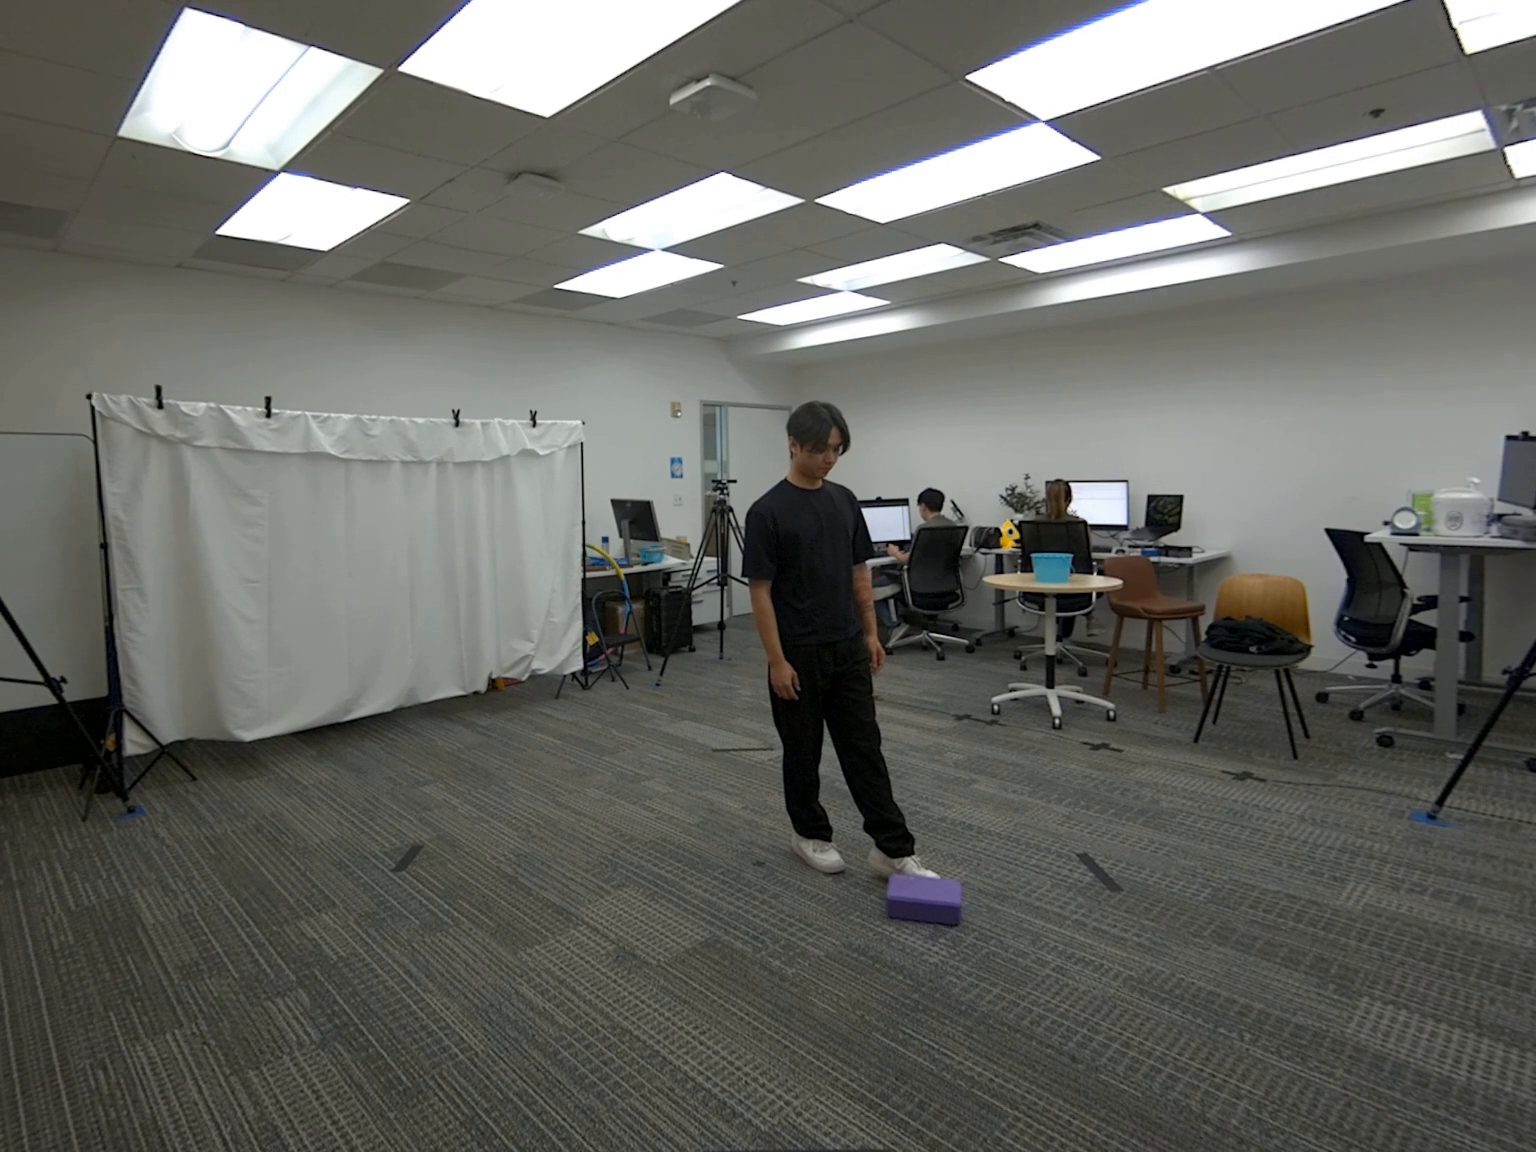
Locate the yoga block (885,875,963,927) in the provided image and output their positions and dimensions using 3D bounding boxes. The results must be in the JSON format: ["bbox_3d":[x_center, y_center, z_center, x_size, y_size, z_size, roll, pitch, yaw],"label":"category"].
[{"bbox_3d":[0.505,1.036,2.736,0.233,0.076,0.148,0,9,15],"label":"yoga block"}]
